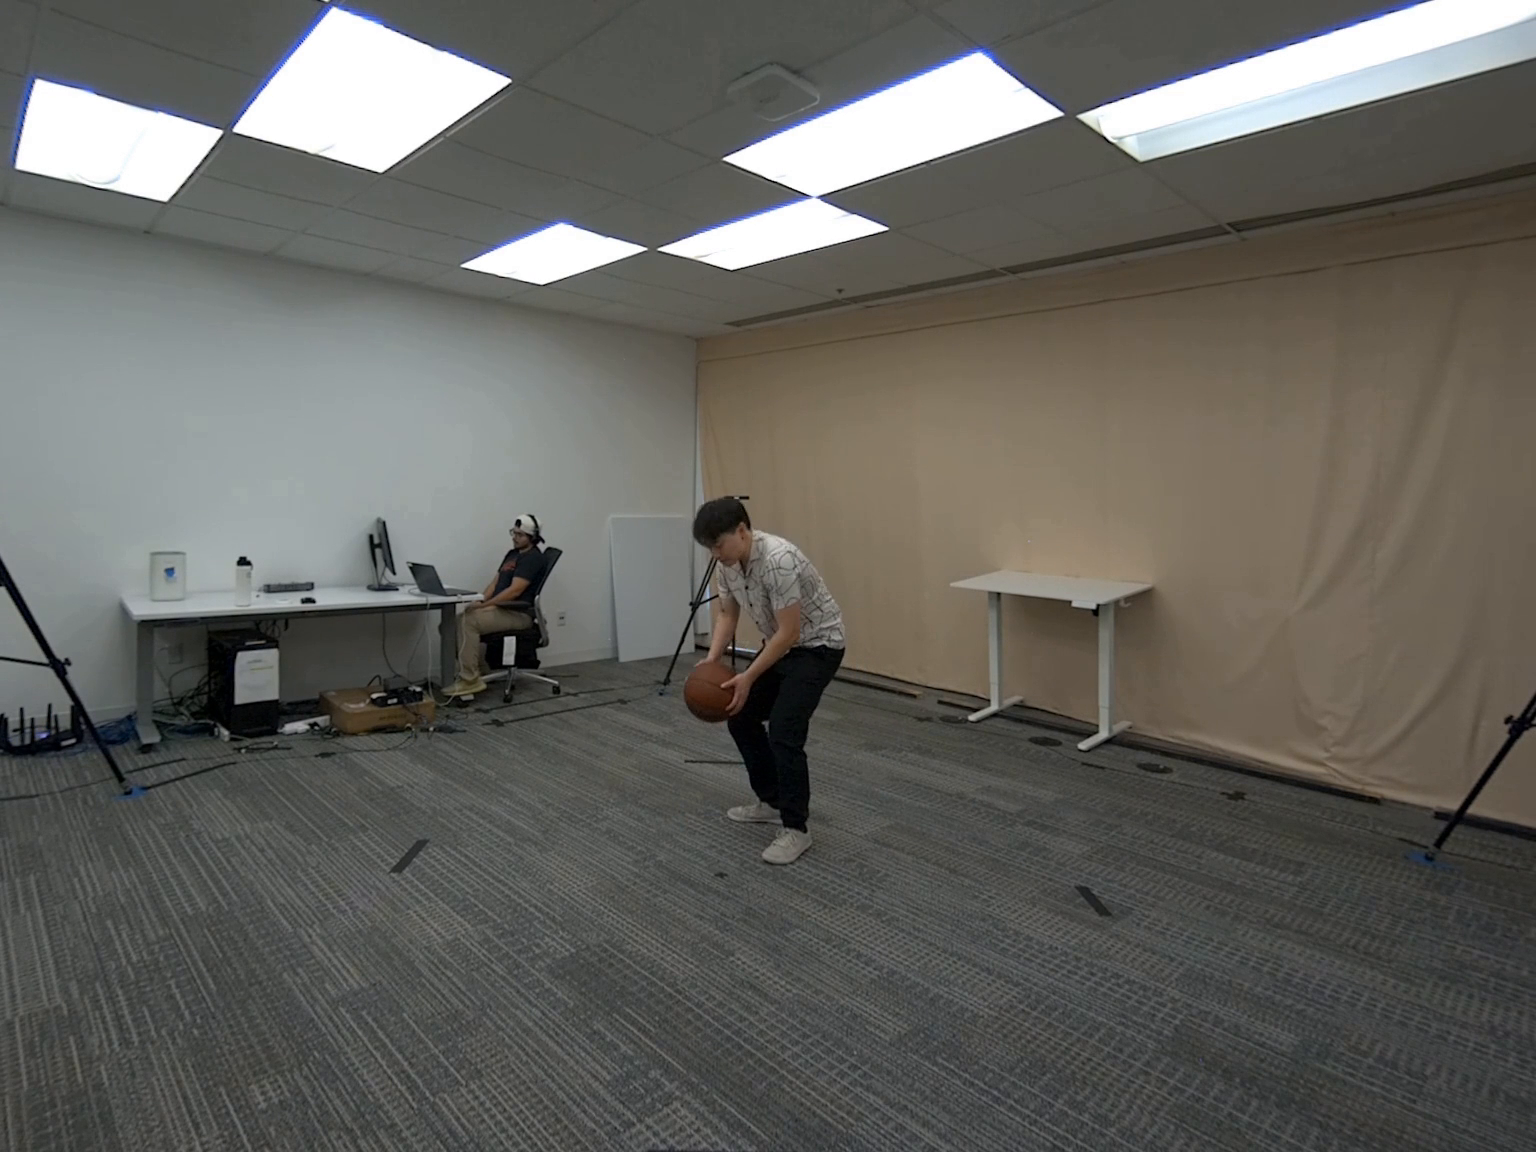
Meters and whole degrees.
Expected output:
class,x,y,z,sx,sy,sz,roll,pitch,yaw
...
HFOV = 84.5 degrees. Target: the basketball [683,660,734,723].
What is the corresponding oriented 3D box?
class,x,y,z,sx,sy,sz,roll,pitch,yaw
basketball,-0.226,0.472,3.380,0.236,0.235,0.237,1,4,-1
